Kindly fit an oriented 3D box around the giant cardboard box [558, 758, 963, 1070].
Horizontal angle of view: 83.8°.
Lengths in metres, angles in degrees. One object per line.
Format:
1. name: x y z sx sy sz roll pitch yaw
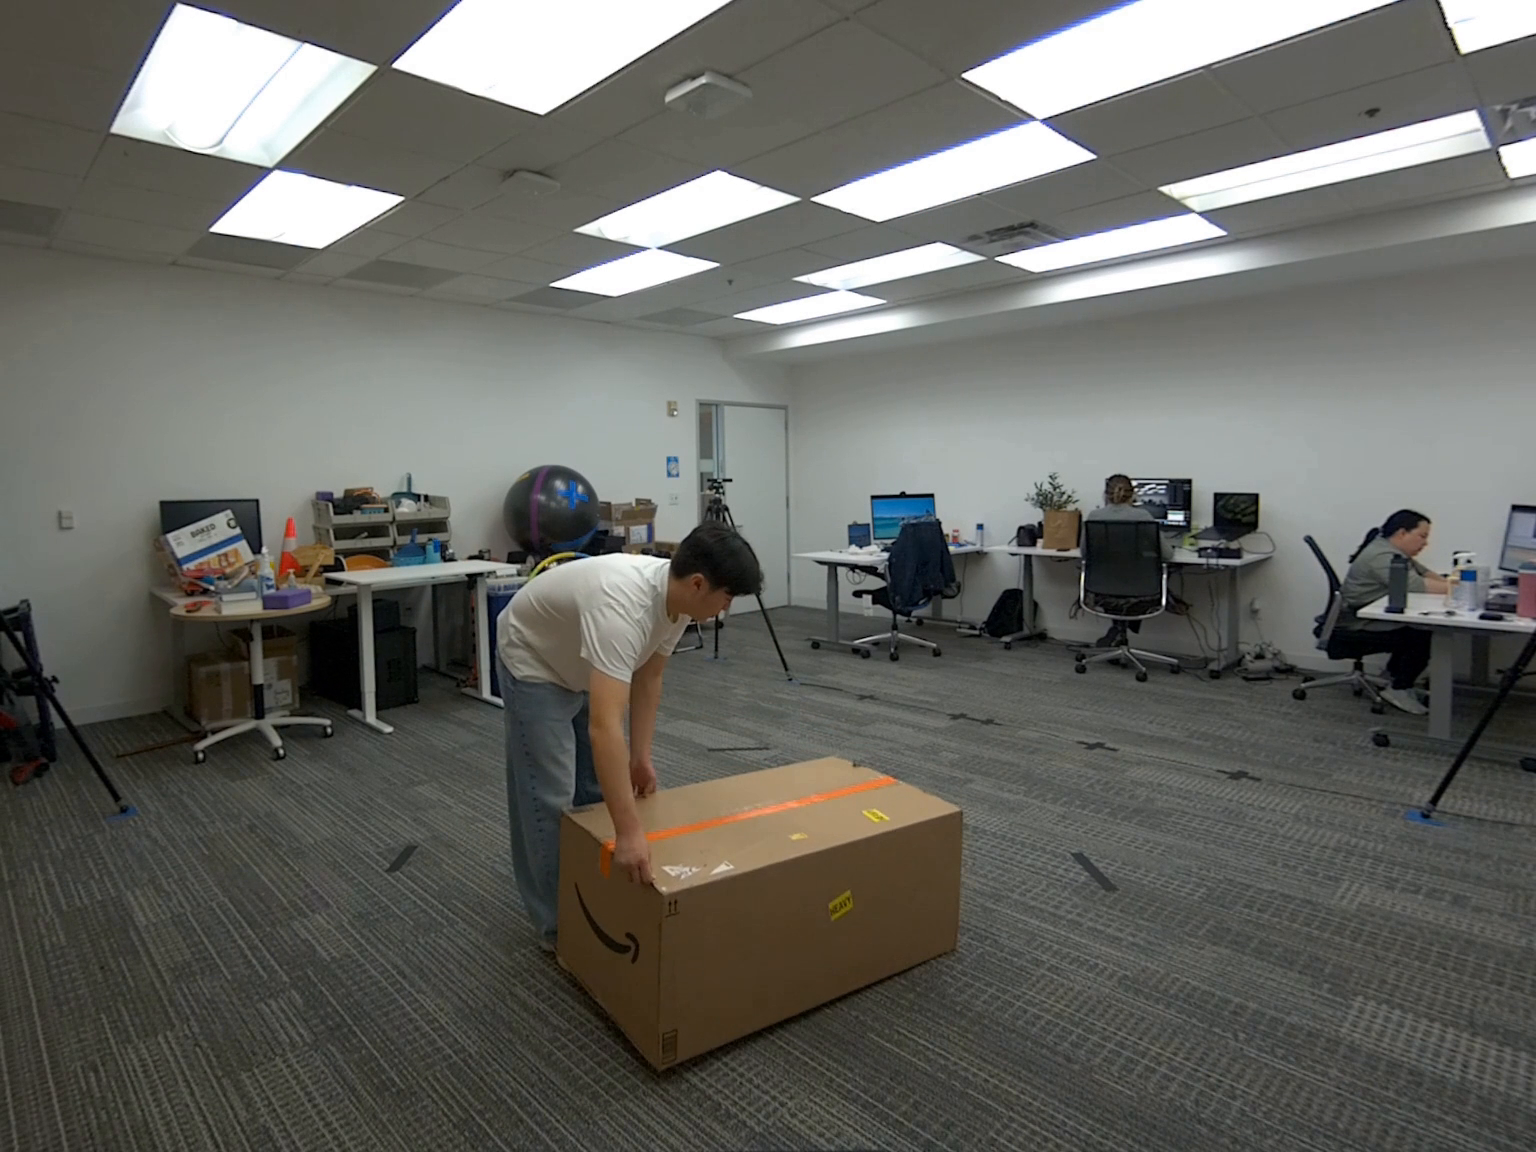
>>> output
1. giant cardboard box: -0.007 0.879 2.460 0.999 0.424 0.595 -3 7 -35
